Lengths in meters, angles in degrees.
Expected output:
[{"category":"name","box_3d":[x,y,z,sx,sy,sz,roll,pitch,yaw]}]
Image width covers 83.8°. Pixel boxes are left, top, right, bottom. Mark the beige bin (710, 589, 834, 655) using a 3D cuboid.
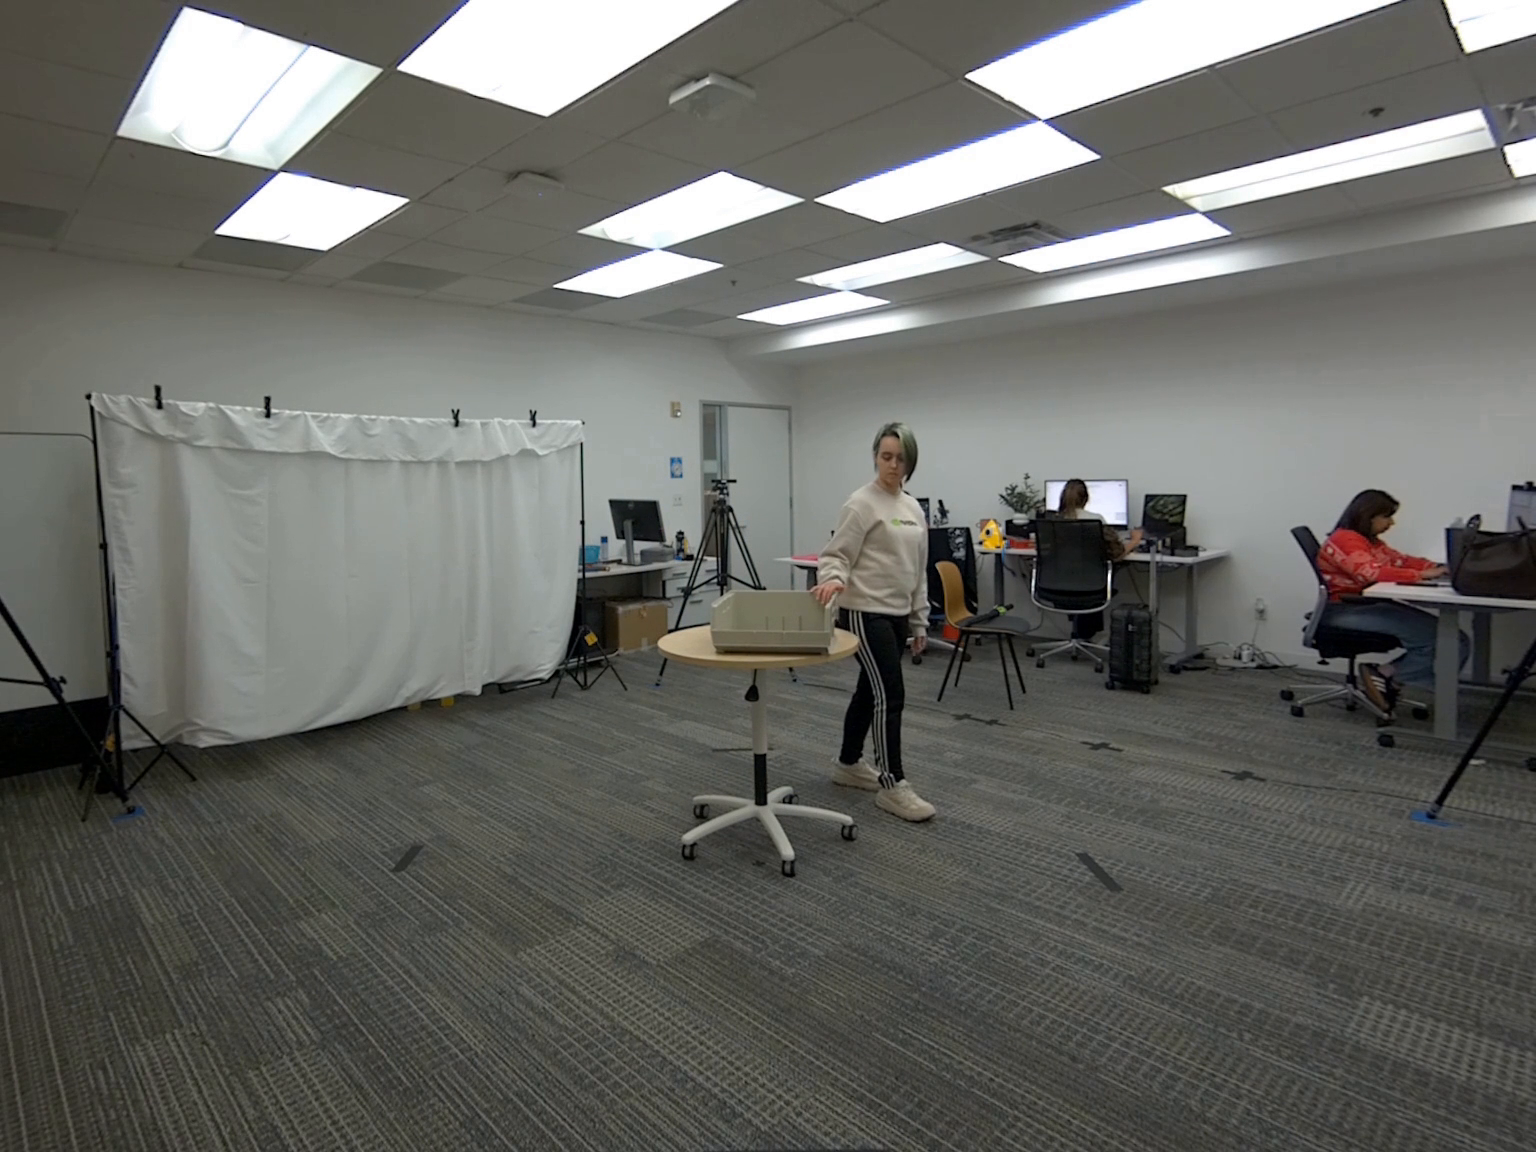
[{"category":"beige bin","box_3d":[0.034,0.165,3.131,0.427,0.188,0.374,-1,4,10]}]
